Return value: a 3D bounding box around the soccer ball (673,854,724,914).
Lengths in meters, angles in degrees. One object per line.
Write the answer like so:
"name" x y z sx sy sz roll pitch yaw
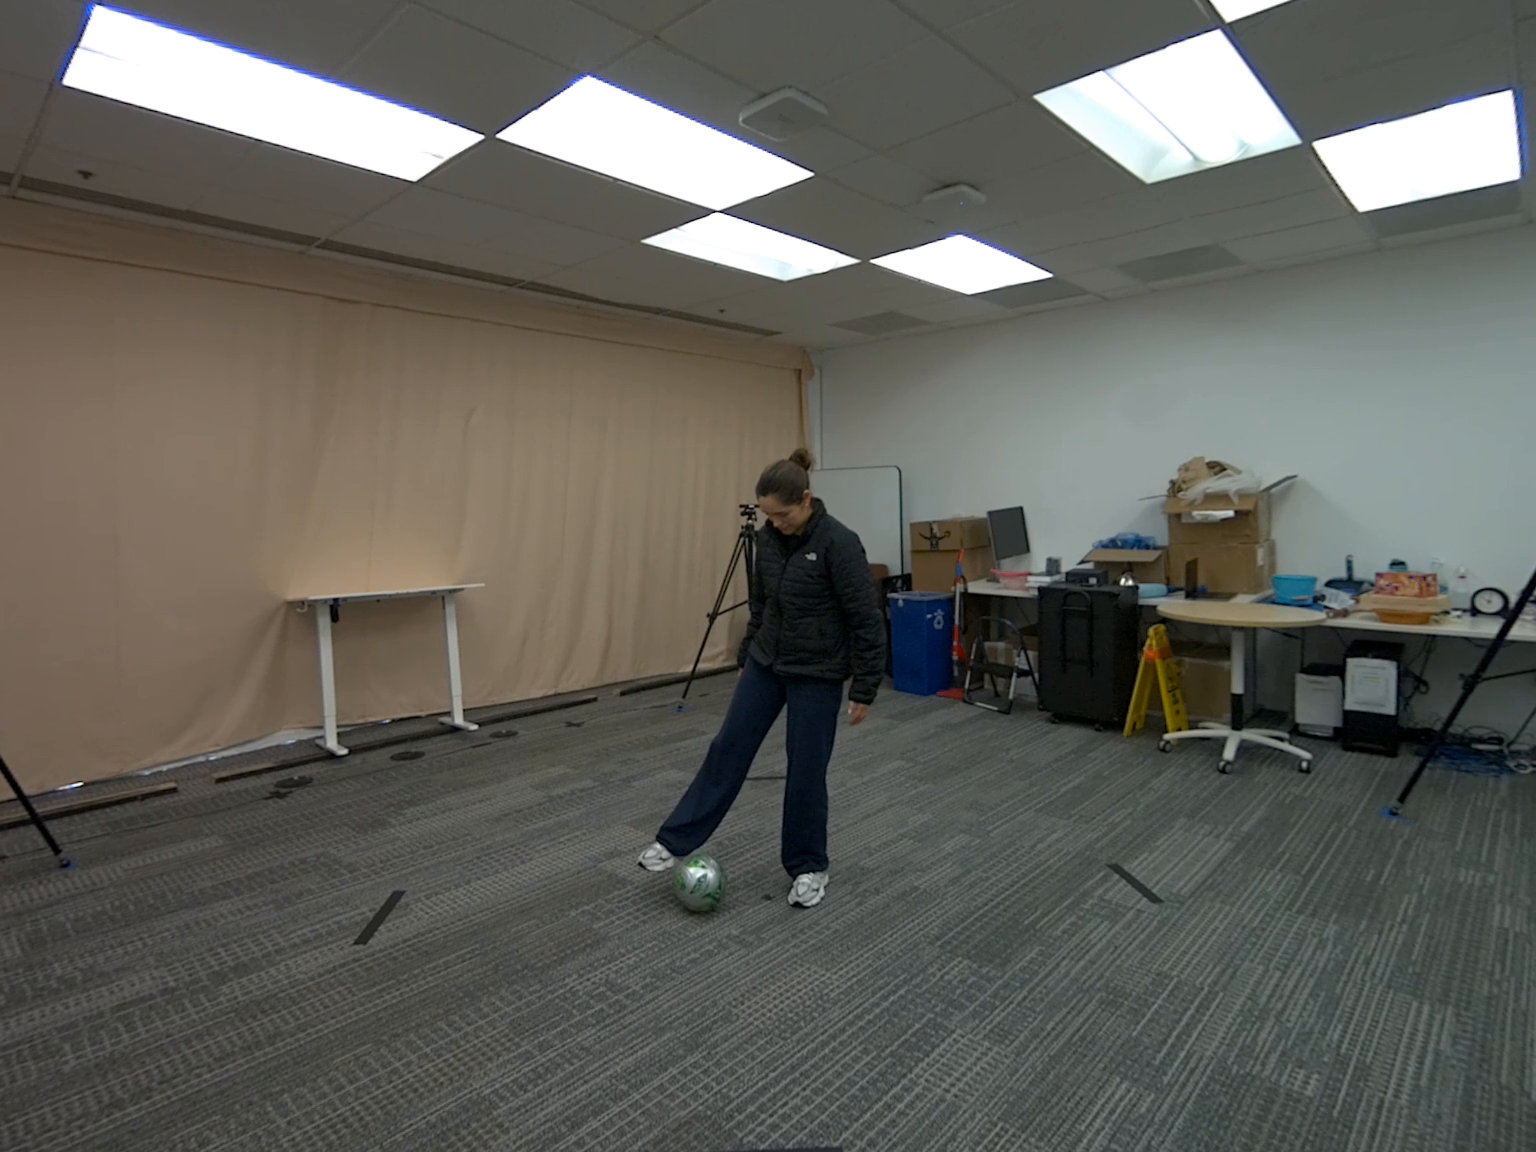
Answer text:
"soccer ball" -0.229 1.053 2.901 0.187 0.187 0.188 -1 4 -2
